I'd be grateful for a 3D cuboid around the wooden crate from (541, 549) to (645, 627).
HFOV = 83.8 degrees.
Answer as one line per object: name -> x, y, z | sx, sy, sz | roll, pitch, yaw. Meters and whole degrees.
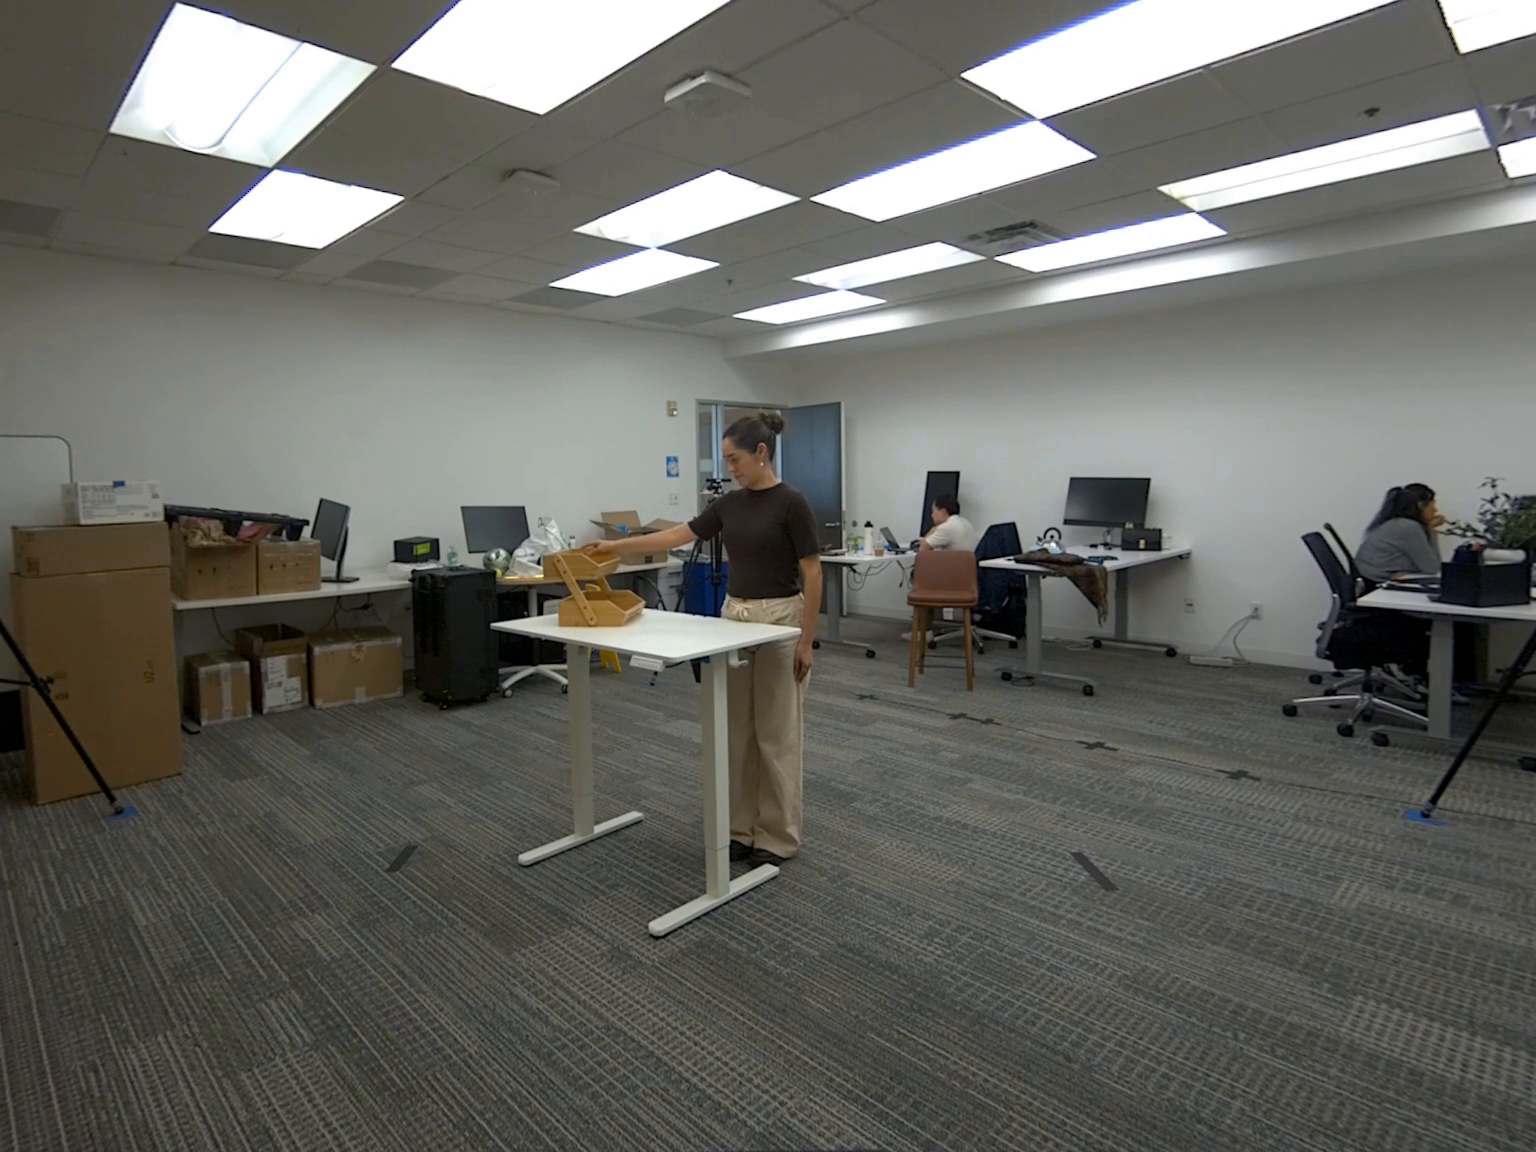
wooden crate -> -0.634, 0.031, 3.192 | 0.304, 0.272, 0.323 | -3, 5, 7
